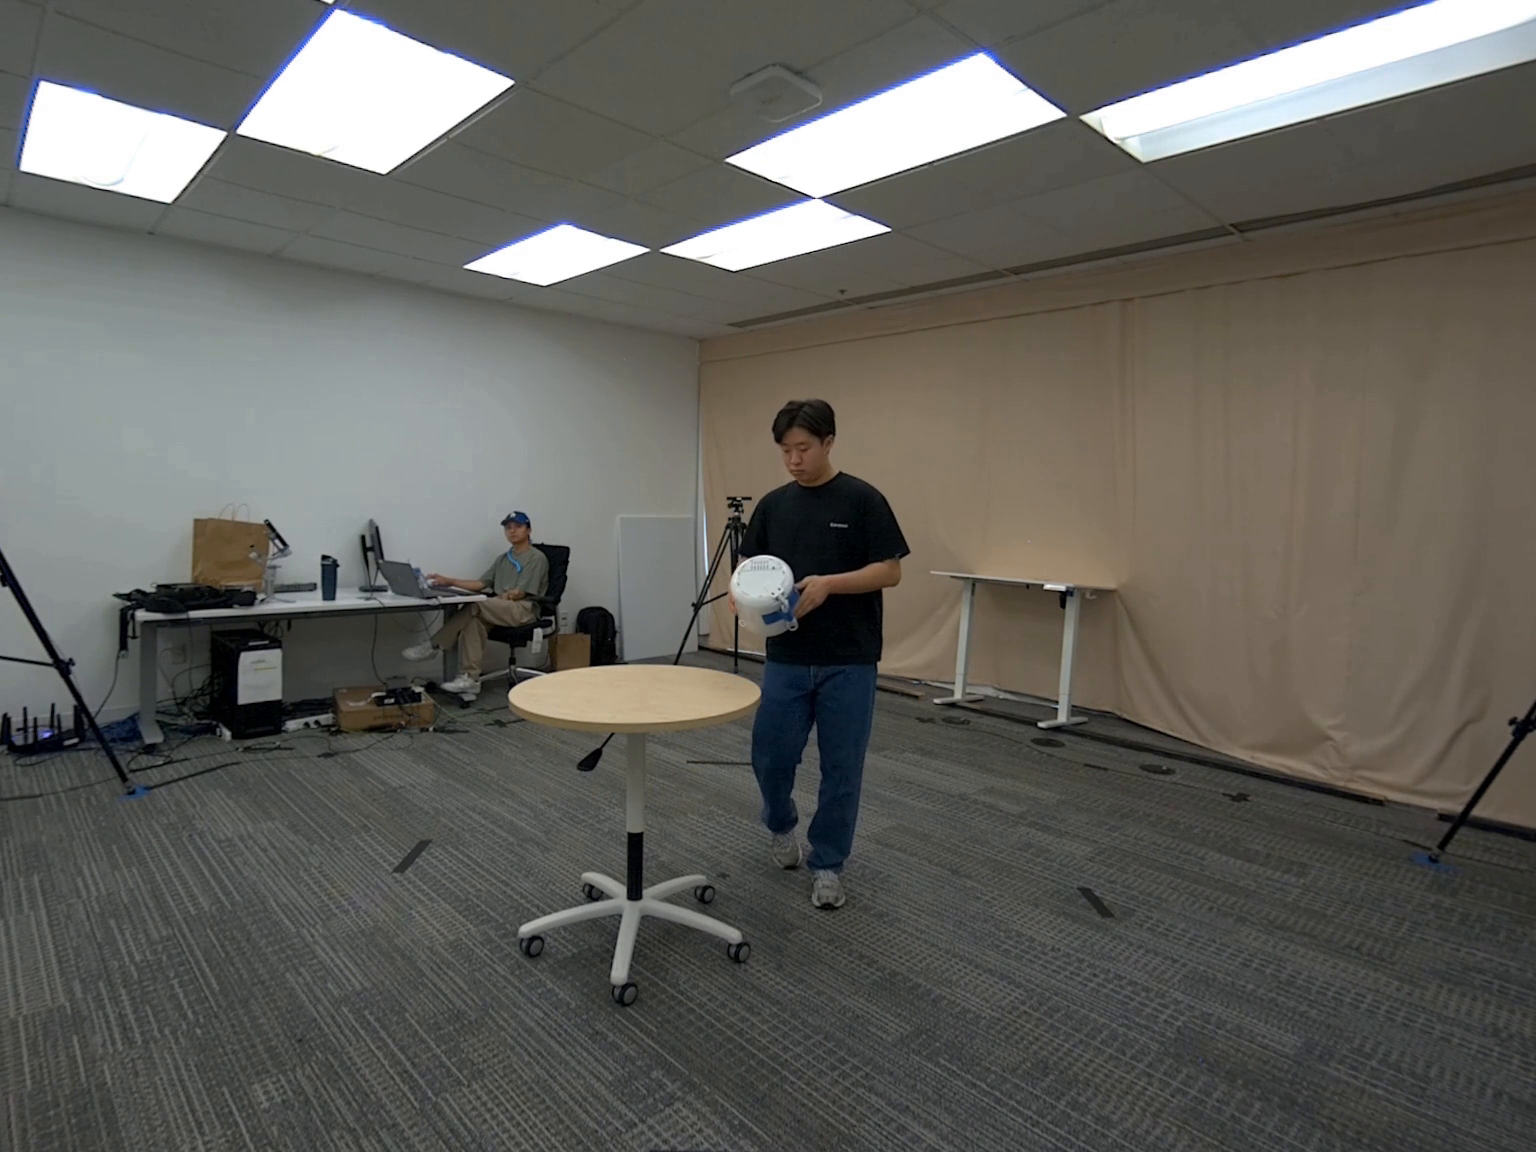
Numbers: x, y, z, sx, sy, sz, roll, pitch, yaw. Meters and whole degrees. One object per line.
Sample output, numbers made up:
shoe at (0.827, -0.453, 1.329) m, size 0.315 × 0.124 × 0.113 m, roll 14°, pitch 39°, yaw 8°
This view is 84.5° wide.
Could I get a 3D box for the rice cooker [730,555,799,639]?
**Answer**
rice cooker at (-0.009, 0.074, 2.767) m, size 0.222 × 0.221 × 0.226 m, roll -2°, pitch -40°, yaw 10°
